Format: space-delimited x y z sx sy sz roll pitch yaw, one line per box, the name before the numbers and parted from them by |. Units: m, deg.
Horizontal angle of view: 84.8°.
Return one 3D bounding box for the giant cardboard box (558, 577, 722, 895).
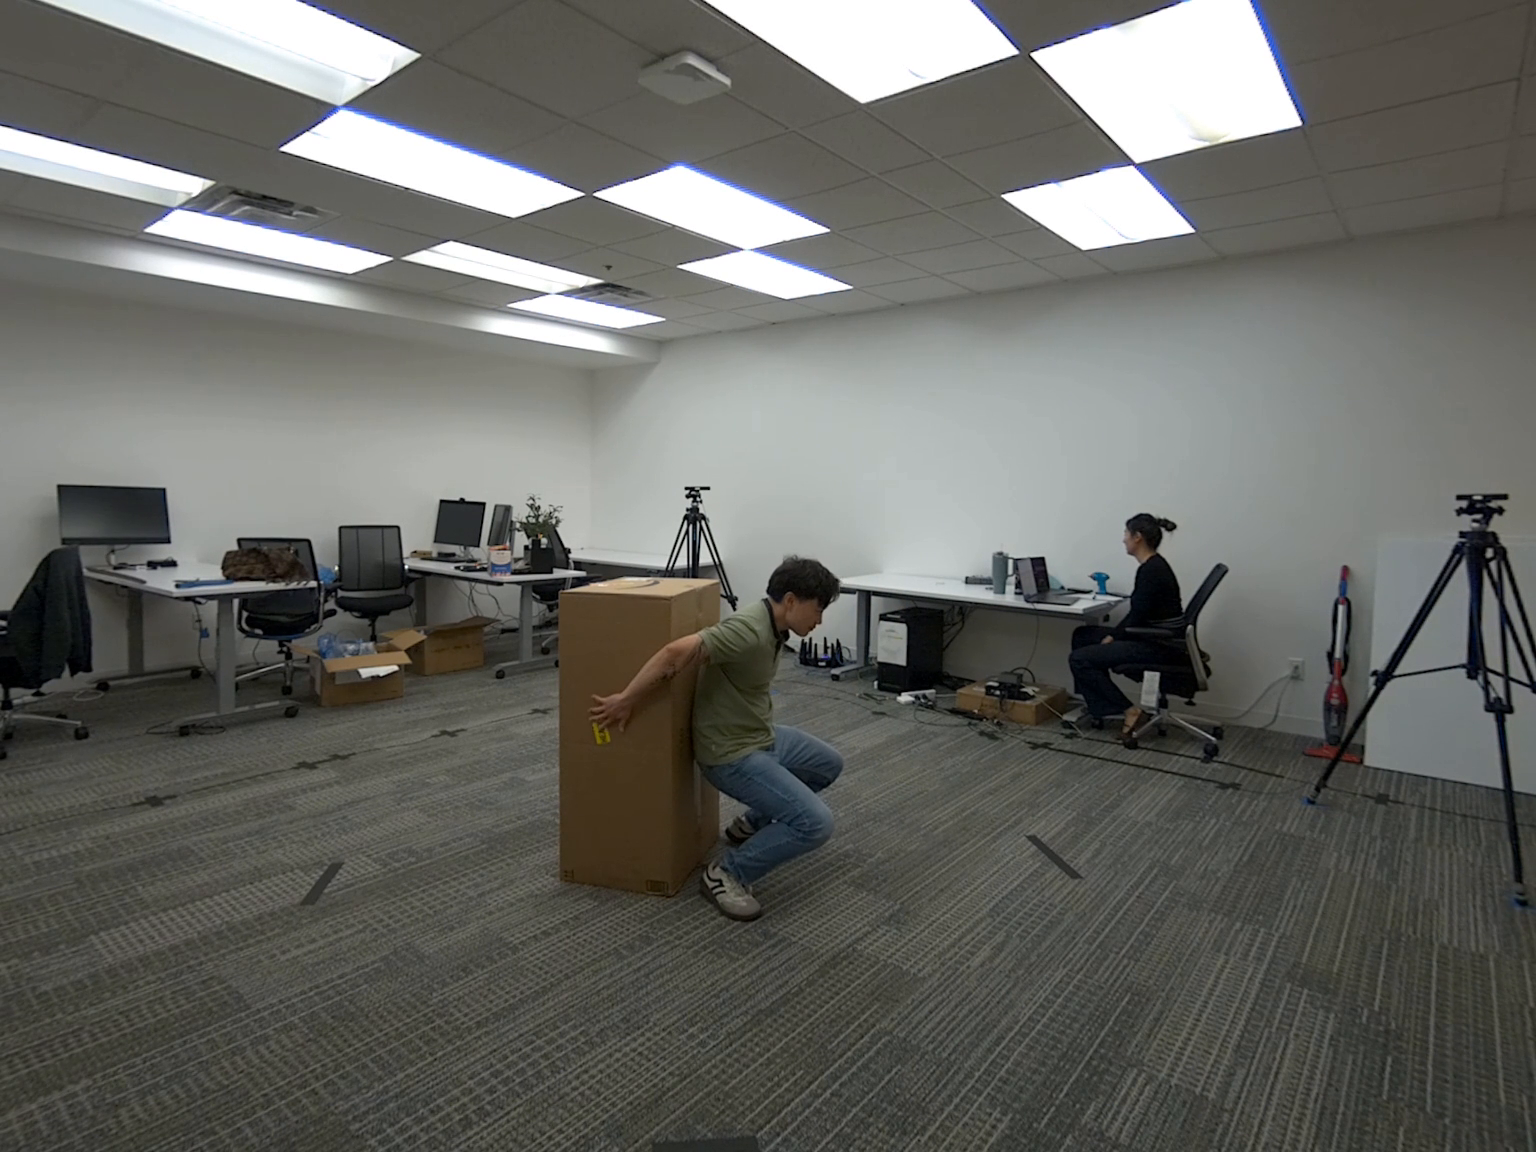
giant cardboard box | -0.477 0.539 3.182 0.434 1.023 0.569 1 3 15
